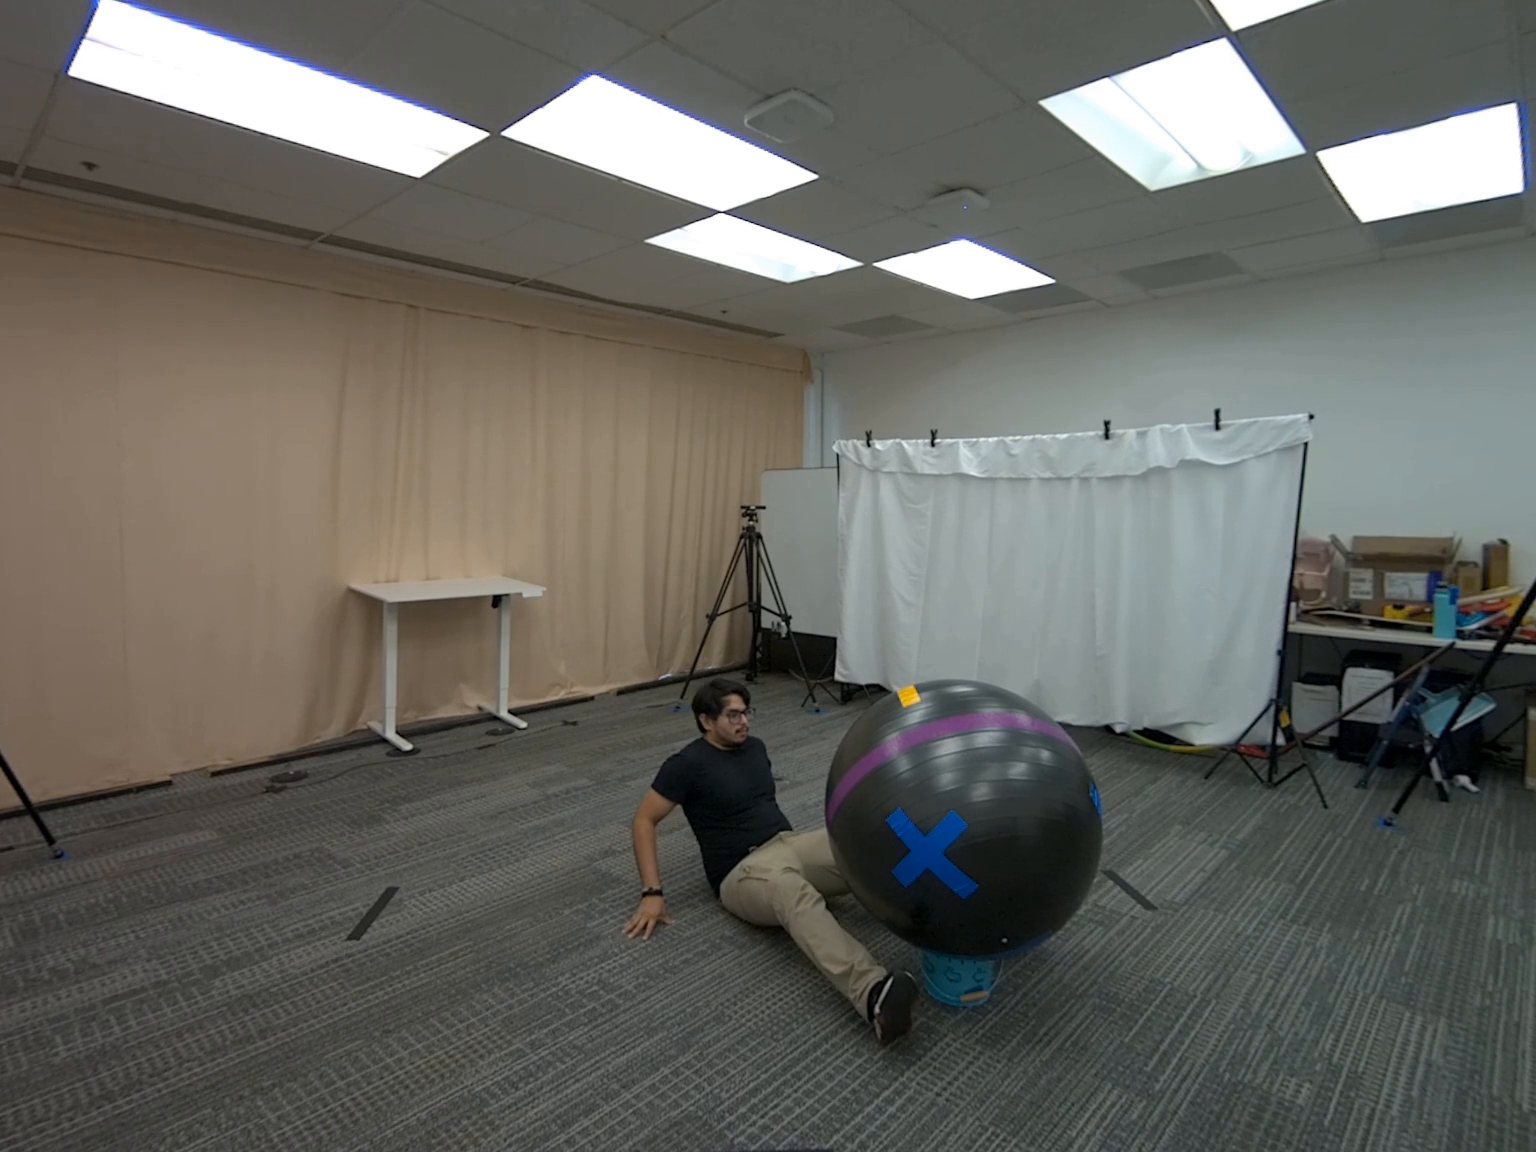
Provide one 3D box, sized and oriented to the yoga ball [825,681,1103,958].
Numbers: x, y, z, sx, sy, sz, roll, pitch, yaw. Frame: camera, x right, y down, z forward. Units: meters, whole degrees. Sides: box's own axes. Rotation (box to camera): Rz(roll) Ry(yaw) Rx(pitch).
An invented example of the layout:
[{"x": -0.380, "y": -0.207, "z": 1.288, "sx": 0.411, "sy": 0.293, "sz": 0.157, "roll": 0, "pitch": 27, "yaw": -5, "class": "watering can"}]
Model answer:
[{"x": 0.553, "y": 0.684, "z": 2.405, "sx": 0.757, "sy": 0.756, "sz": 0.760, "roll": 0, "pitch": 4, "yaw": -2, "class": "yoga ball"}]
